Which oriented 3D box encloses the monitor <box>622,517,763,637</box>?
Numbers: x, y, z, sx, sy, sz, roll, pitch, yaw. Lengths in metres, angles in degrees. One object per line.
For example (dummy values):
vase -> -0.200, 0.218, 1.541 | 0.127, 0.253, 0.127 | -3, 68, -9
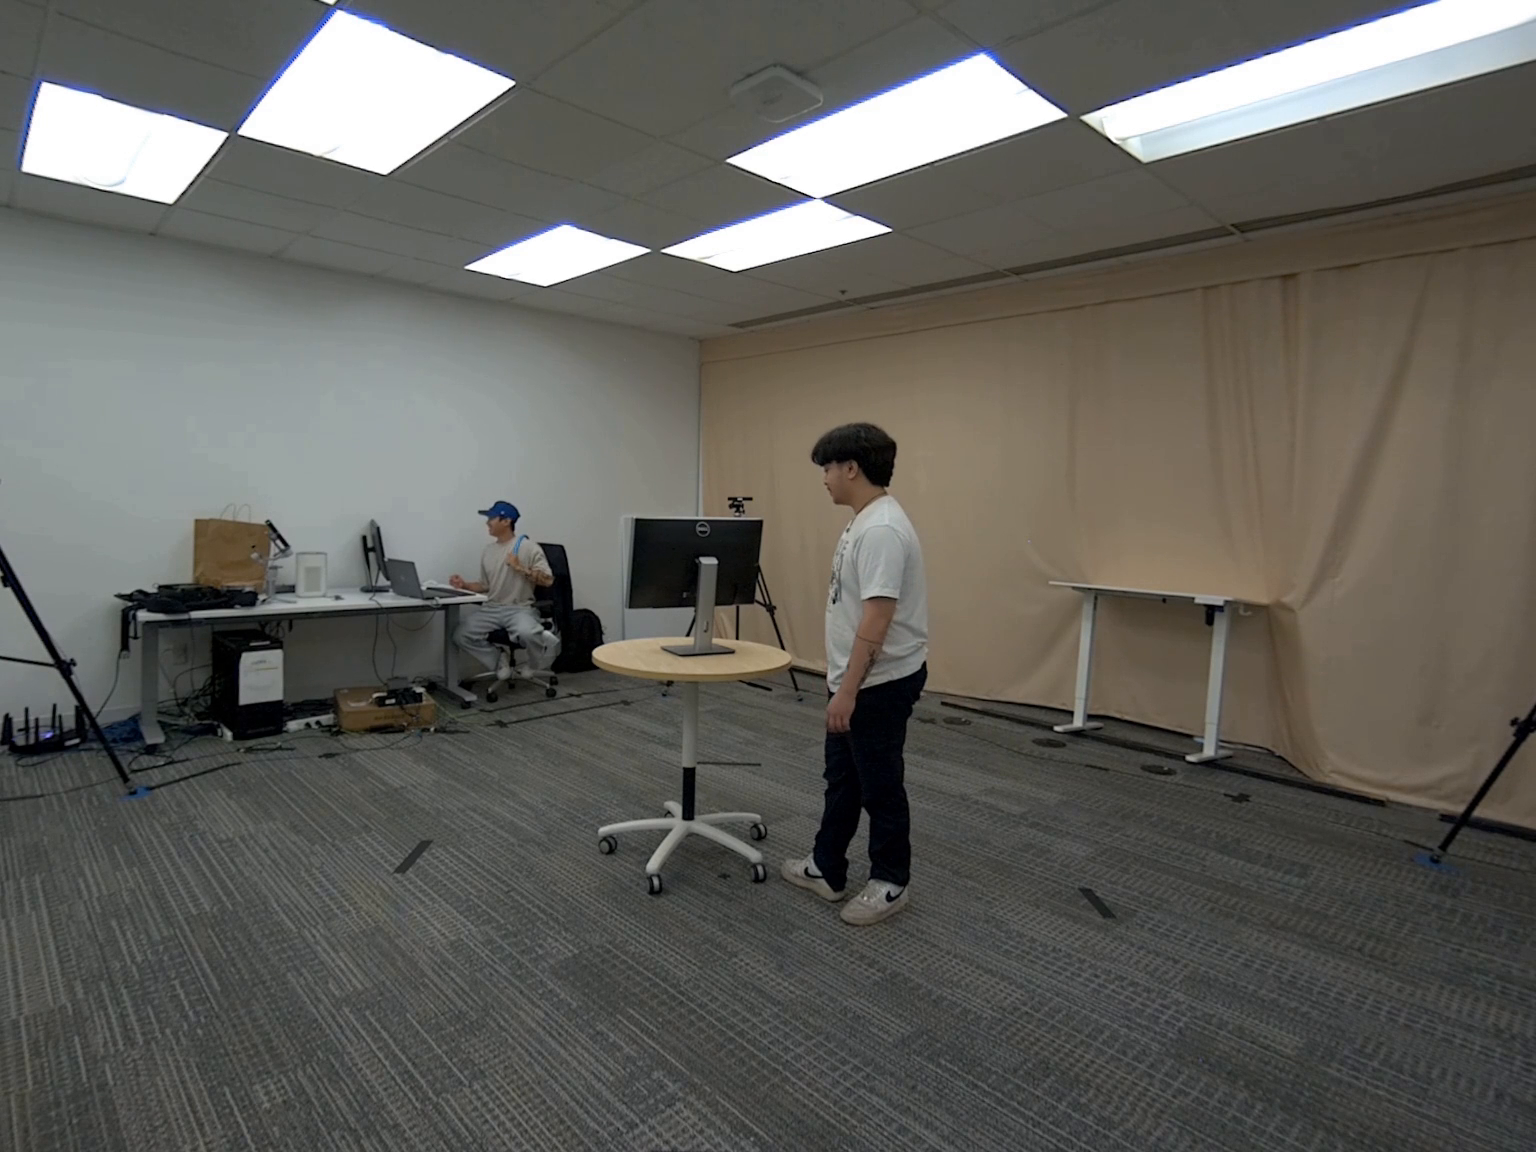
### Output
monitor -> -0.264, 0.044, 3.274 | 0.554, 0.551, 0.215 | 0, 8, -29
